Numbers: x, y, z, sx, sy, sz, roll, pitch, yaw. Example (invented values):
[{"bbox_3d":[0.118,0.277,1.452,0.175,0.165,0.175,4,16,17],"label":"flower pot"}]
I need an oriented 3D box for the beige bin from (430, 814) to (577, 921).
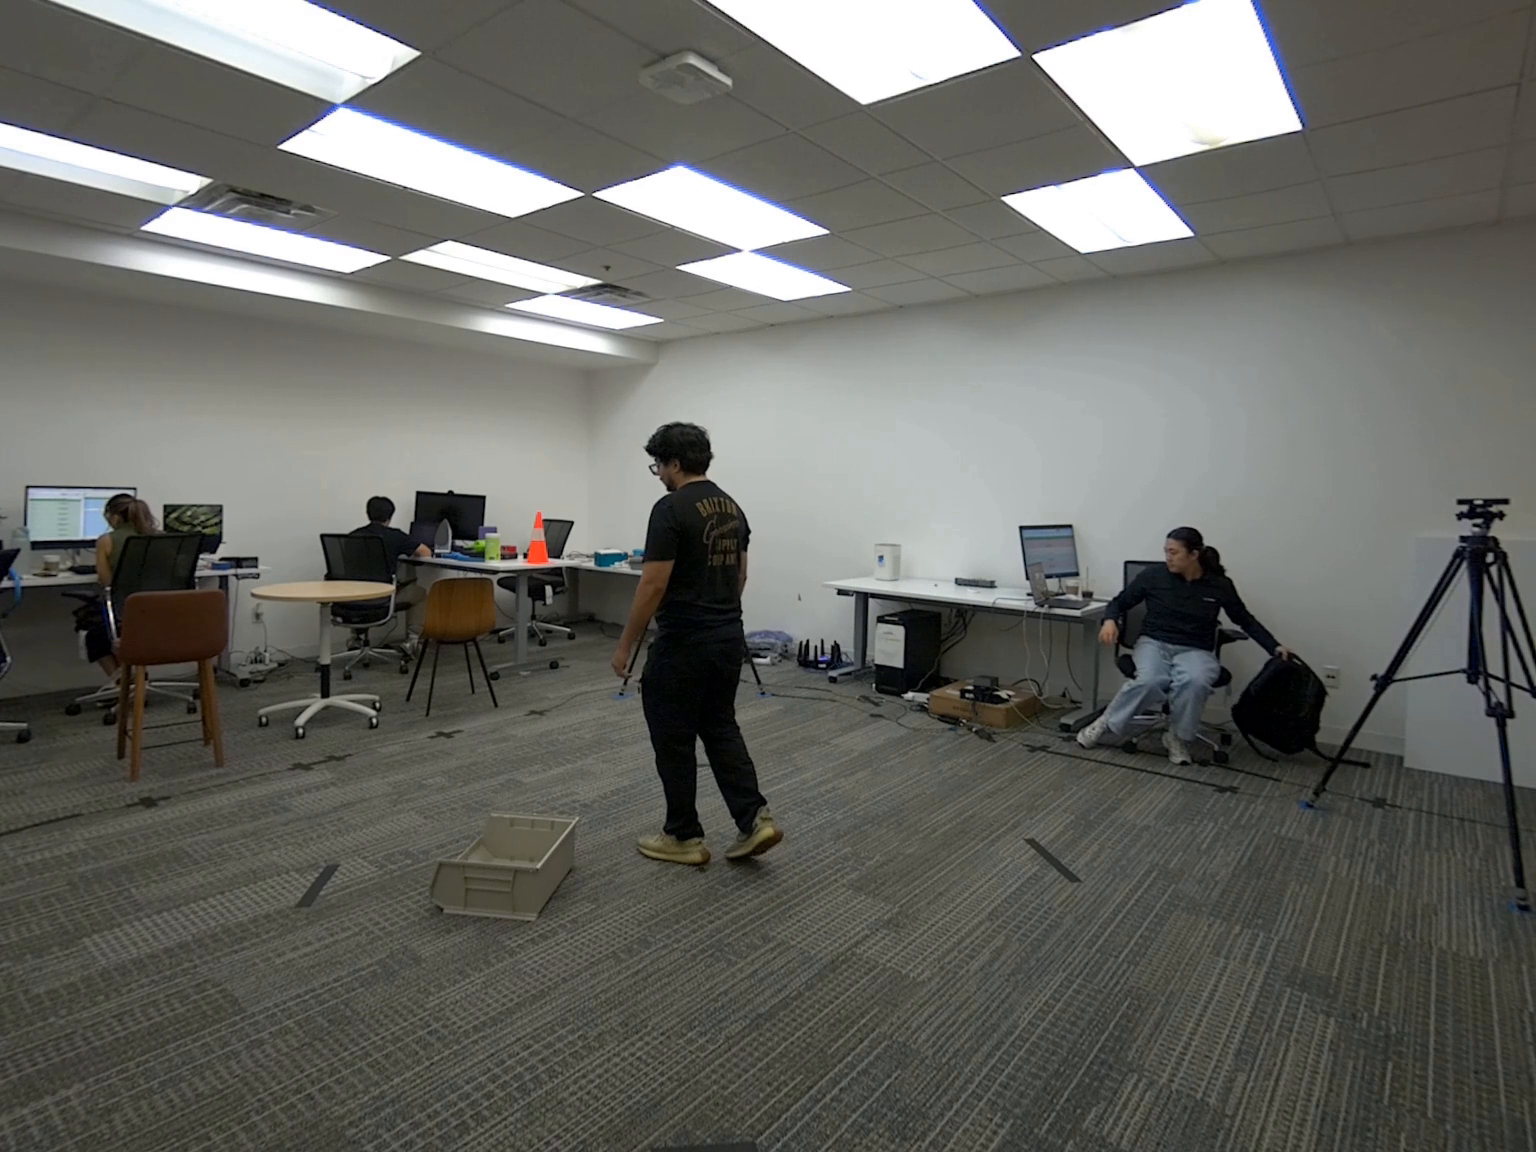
[{"bbox_3d":[-0.912,0.991,2.929,0.380,0.188,0.420,2,4,6],"label":"beige bin"}]
